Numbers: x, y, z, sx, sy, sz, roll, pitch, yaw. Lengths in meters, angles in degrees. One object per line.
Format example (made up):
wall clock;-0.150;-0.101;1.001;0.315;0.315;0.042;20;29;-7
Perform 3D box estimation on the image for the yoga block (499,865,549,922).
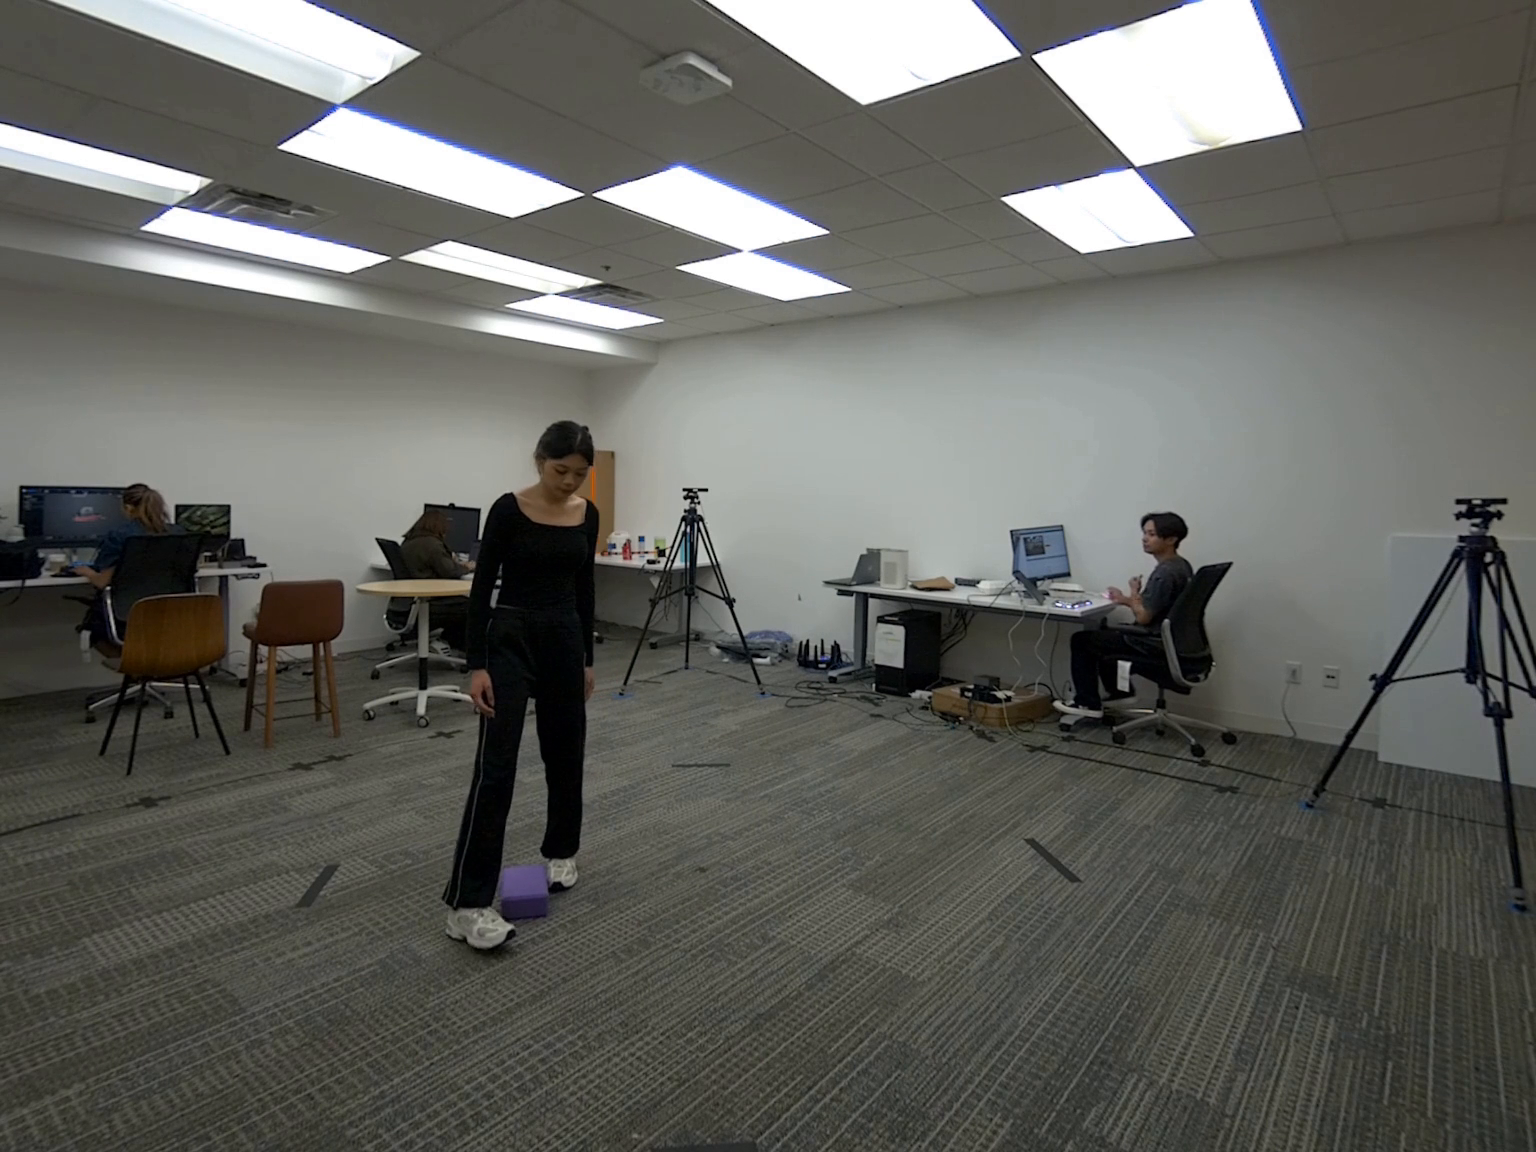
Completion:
yoga block;-0.825;1.050;2.833;0.146;0.076;0.234;0;6;-17
